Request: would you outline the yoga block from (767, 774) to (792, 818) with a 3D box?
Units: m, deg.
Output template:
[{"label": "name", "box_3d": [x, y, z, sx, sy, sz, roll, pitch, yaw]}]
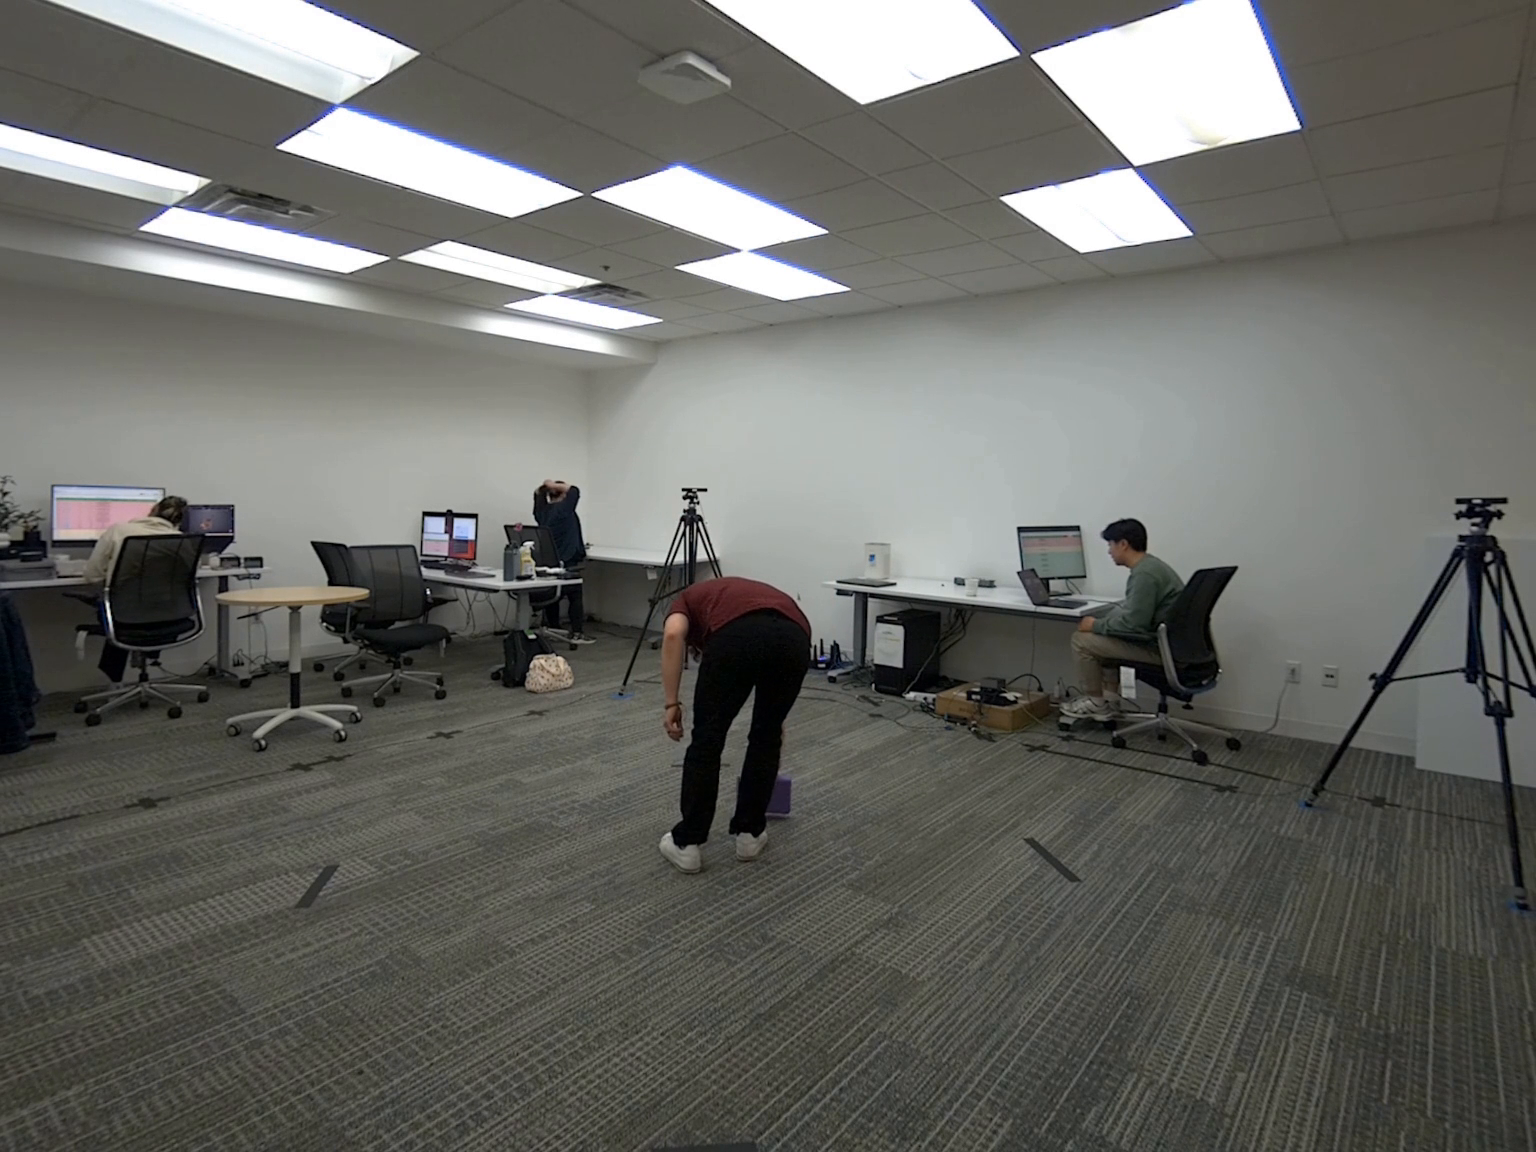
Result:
[{"label": "yoga block", "box_3d": [-0.030, 0.923, 3.621, 0.230, 0.148, 0.076, 0, 3, 5]}]
